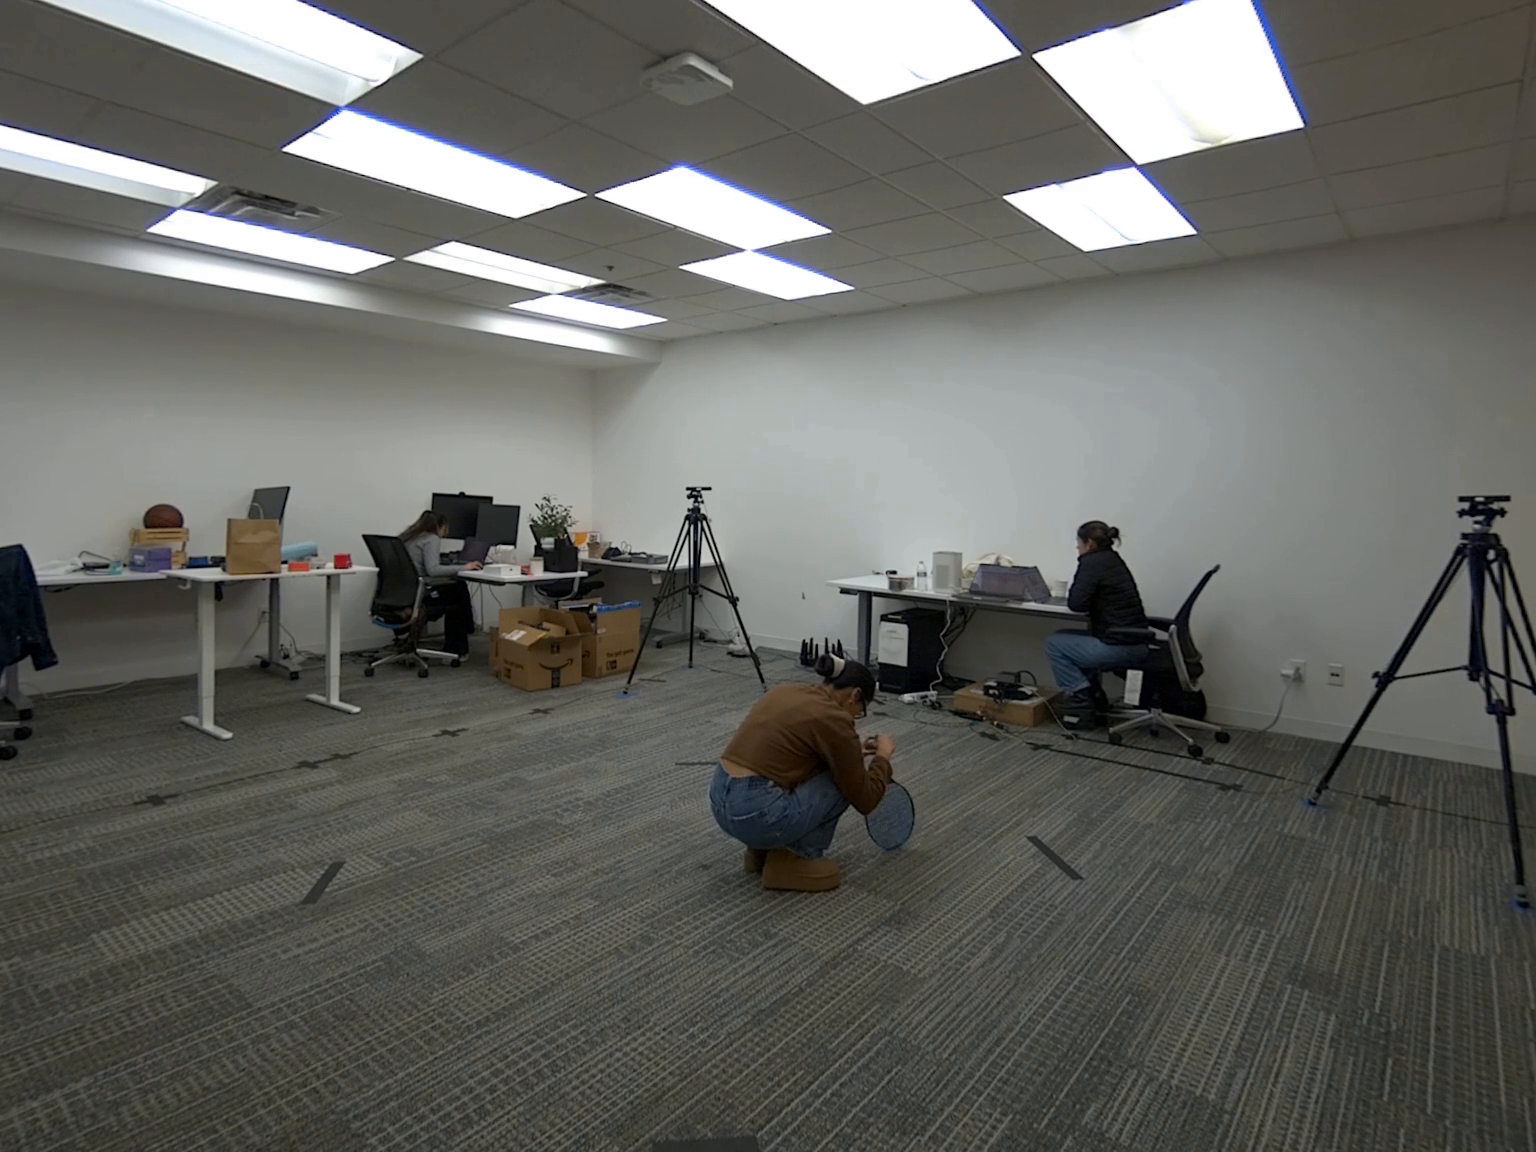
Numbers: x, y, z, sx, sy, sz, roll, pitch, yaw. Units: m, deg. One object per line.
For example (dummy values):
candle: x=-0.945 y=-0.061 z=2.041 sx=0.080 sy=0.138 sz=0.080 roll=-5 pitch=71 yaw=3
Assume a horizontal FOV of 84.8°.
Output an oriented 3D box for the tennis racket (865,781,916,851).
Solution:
tennis racket: x=0.453 y=0.851 z=3.292 sx=0.211 sy=0.430 sz=0.032 roll=-15 pitch=6 yaw=-19
